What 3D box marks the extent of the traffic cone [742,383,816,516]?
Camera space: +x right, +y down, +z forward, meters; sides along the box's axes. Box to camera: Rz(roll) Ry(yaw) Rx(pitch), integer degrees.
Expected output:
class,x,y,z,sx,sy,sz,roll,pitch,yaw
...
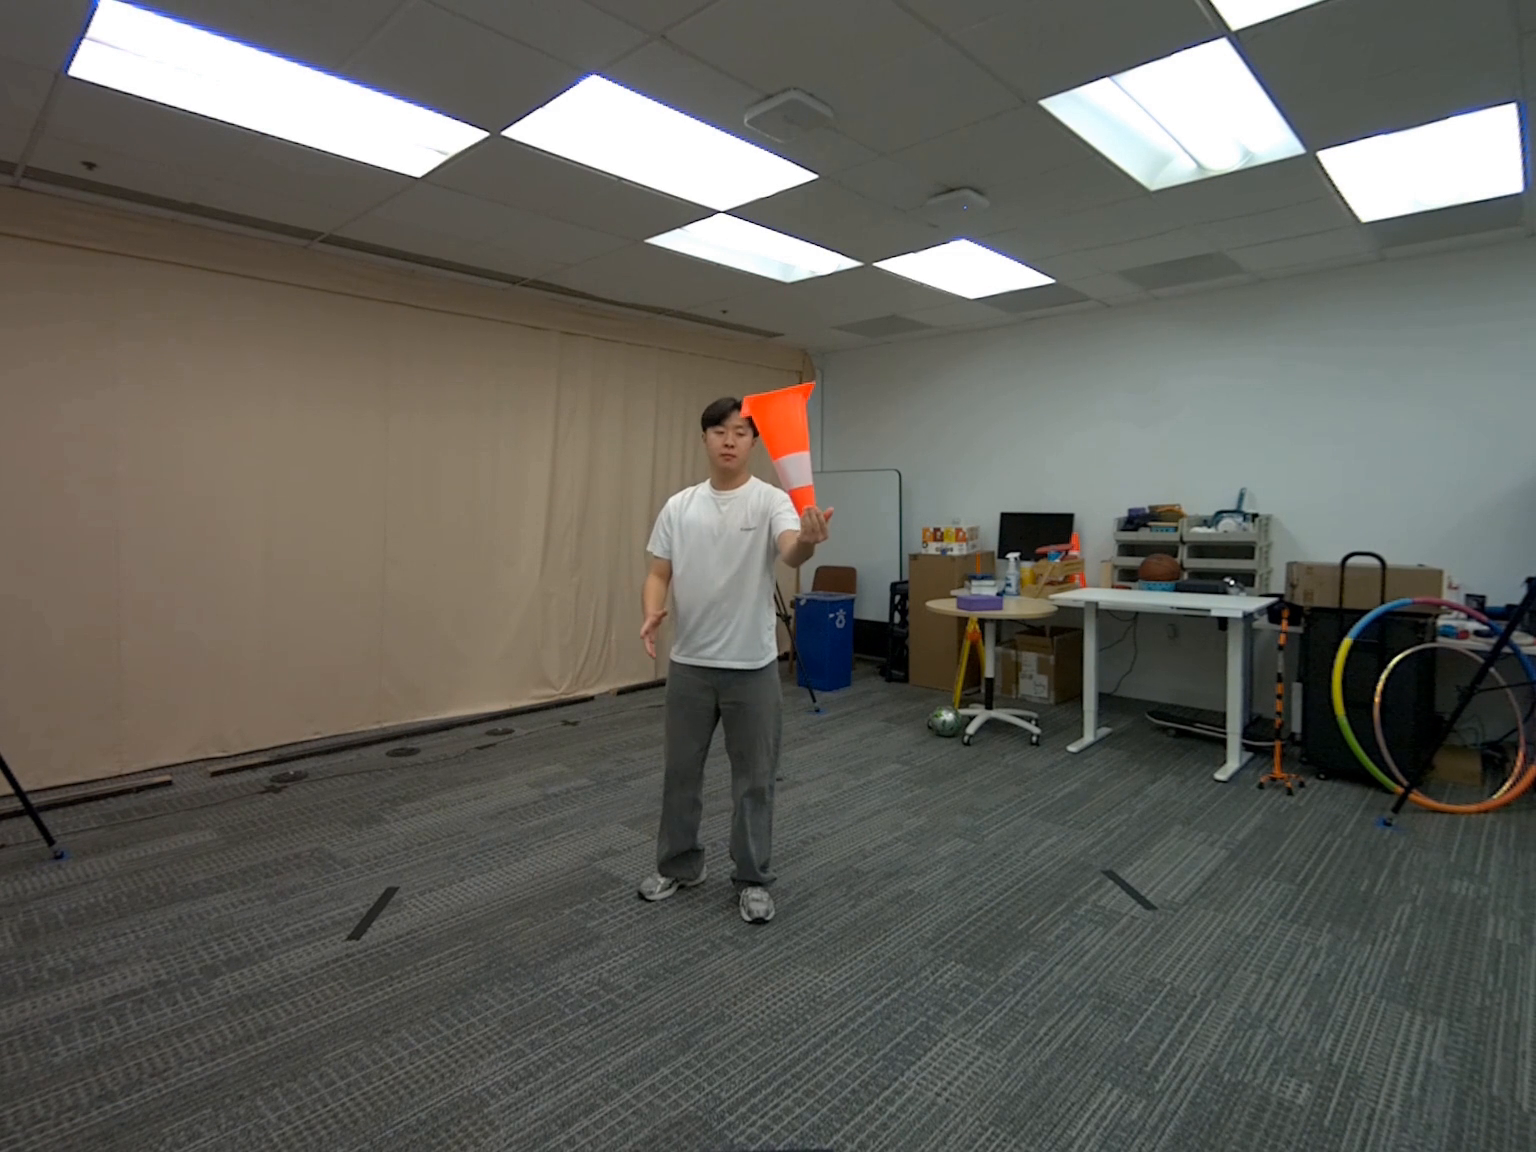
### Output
class,x,y,z,sx,sy,sz,roll,pitch,yaw
traffic cone,0.071,-0.293,2.320,0.207,0.384,0.201,-14,-2,22
